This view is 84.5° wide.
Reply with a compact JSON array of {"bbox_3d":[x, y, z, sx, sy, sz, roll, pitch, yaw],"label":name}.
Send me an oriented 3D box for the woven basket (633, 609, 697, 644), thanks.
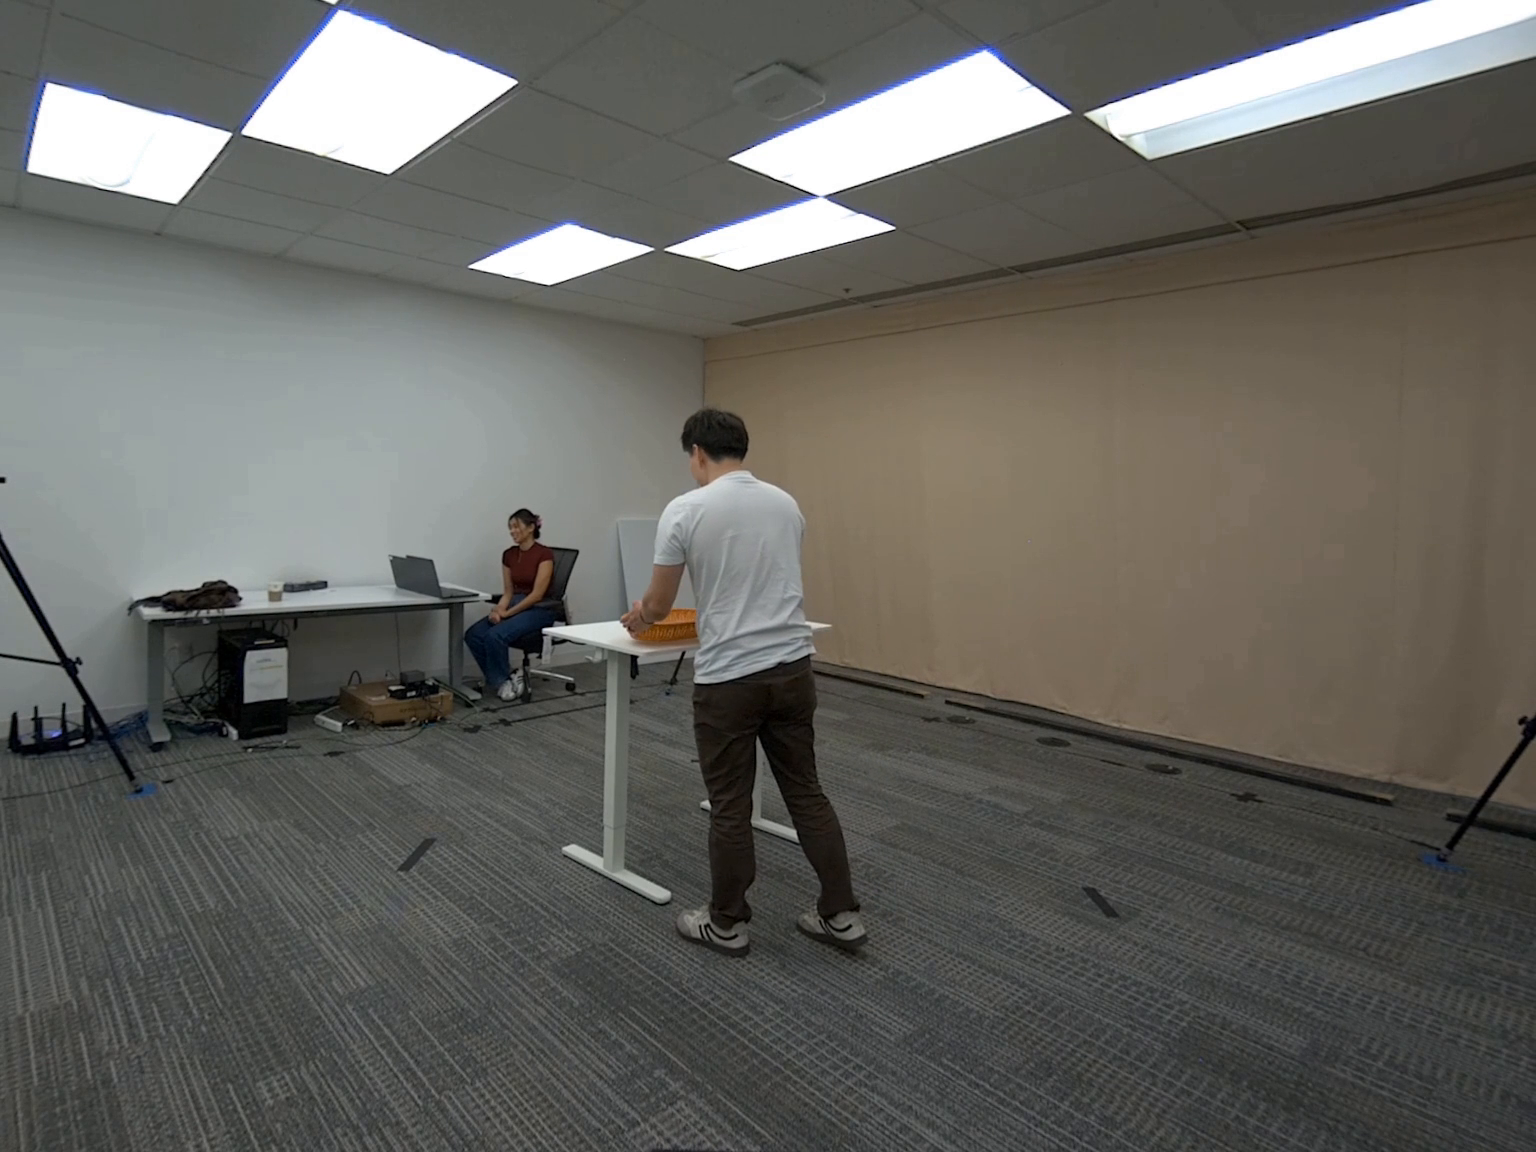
[{"bbox_3d":[-0.361,0.176,2.943,0.343,0.073,0.259,-6,10,-38],"label":"woven basket"}]
